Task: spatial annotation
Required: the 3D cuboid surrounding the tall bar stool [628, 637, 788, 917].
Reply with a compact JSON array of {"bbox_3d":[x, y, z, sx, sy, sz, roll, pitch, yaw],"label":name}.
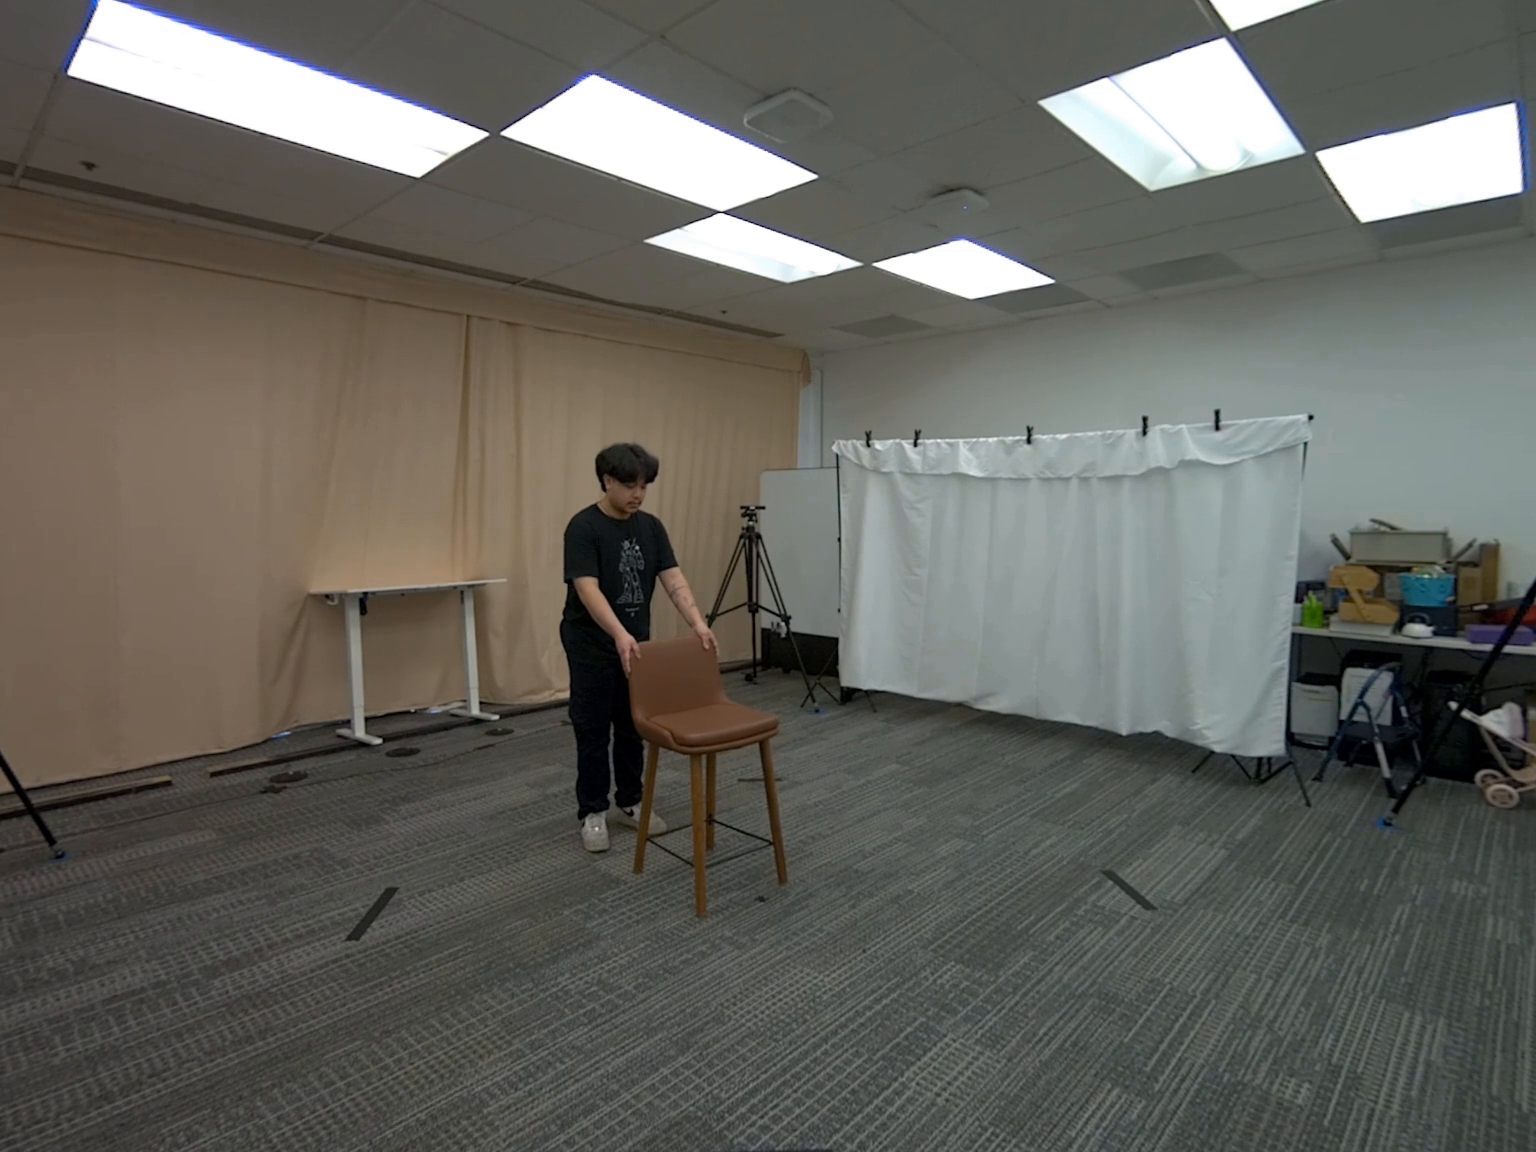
[{"bbox_3d":[-0.240,0.693,3.138,0.443,0.889,0.482,-3,2,-40],"label":"tall bar stool"}]
